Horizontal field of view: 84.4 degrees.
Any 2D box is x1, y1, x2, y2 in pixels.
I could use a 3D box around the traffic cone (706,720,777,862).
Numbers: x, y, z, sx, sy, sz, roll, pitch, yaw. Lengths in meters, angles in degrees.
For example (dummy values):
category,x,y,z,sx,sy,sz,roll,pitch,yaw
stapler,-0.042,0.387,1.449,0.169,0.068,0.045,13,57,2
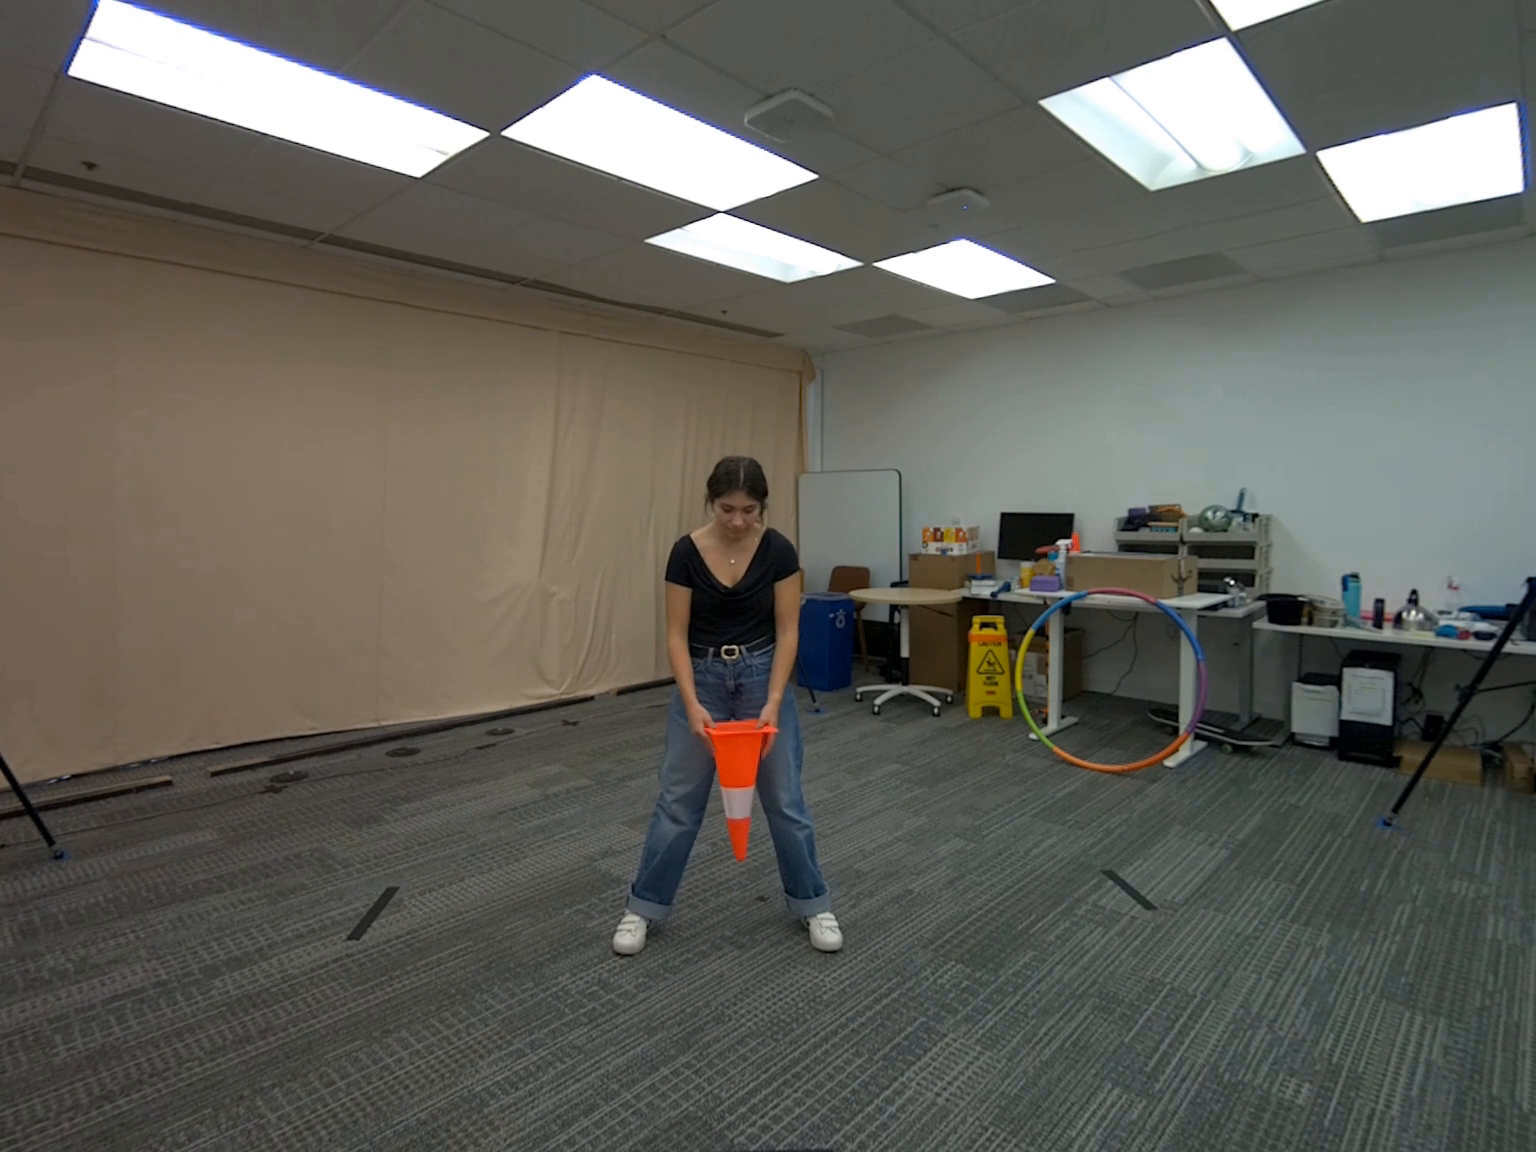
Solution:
category,x,y,z,sx,sy,sz,roll,pitch,yaw
traffic cone,-0.089,0.635,2.453,0.198,0.384,0.210,-2,-3,-27
